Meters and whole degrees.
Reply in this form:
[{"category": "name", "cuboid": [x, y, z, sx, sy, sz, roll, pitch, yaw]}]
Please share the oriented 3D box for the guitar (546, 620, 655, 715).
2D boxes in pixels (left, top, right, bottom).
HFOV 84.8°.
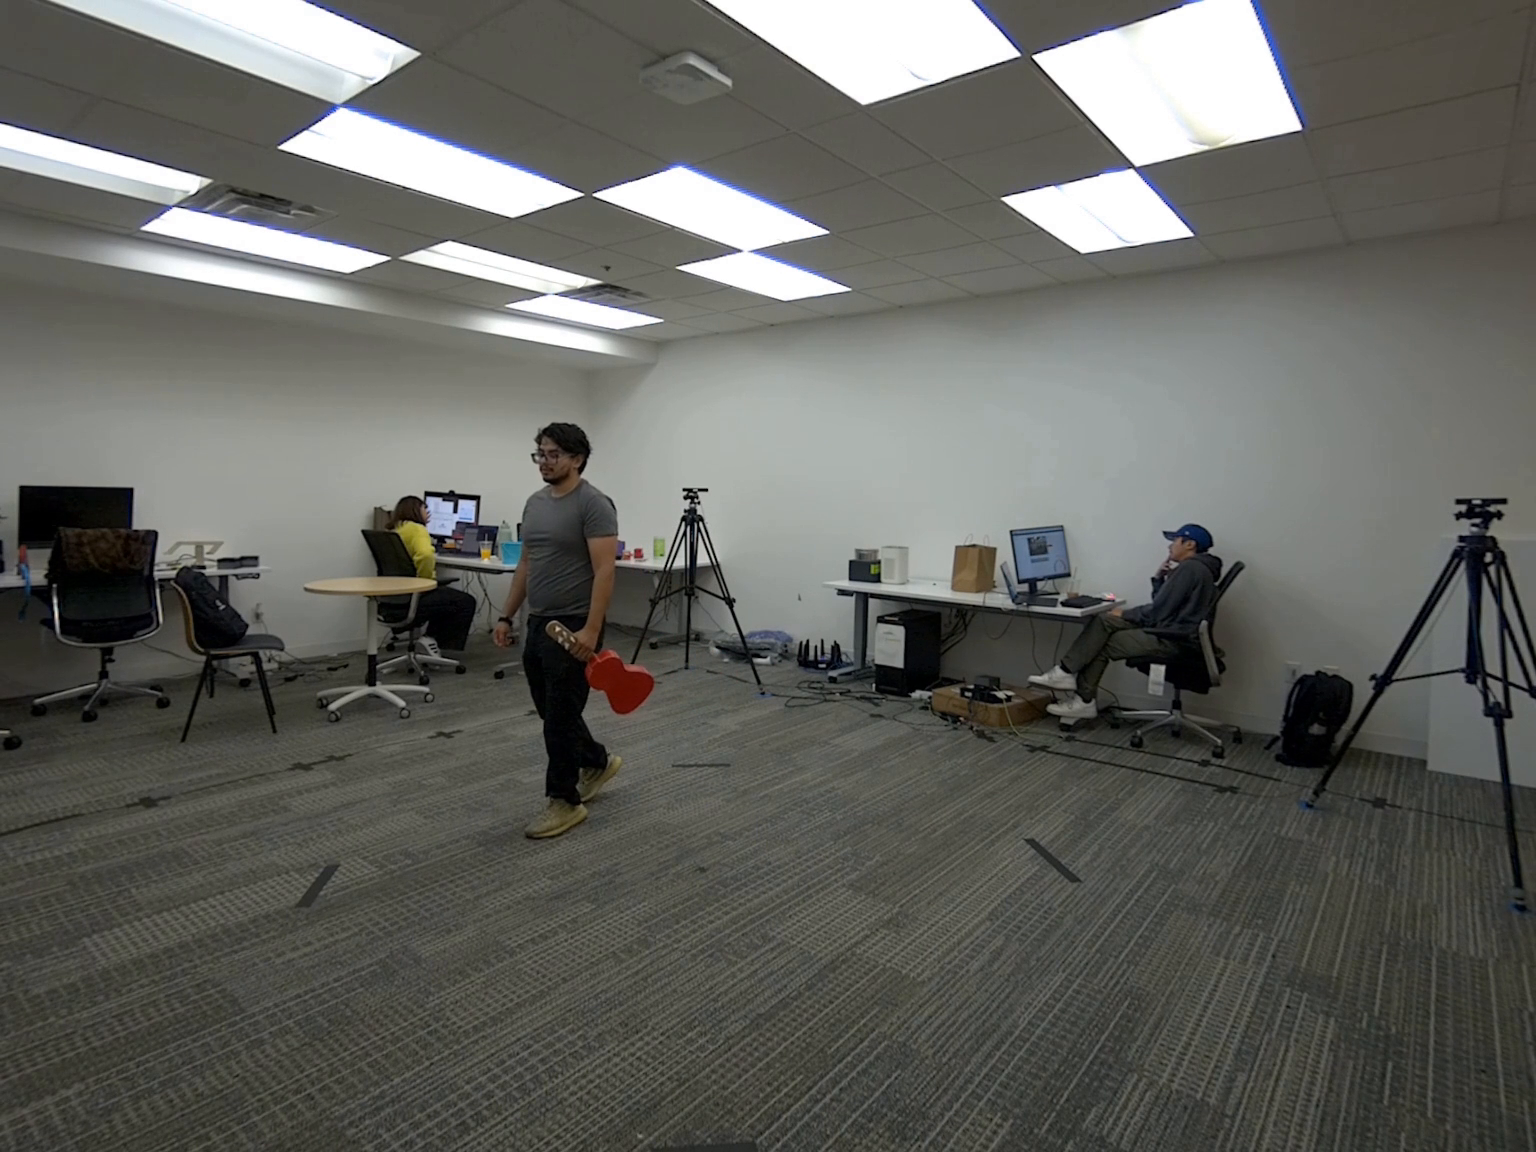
[{"category": "guitar", "cuboid": [-0.676, 0.342, 3.186, 0.479, 0.193, 0.073, 35, 3, -32]}]
